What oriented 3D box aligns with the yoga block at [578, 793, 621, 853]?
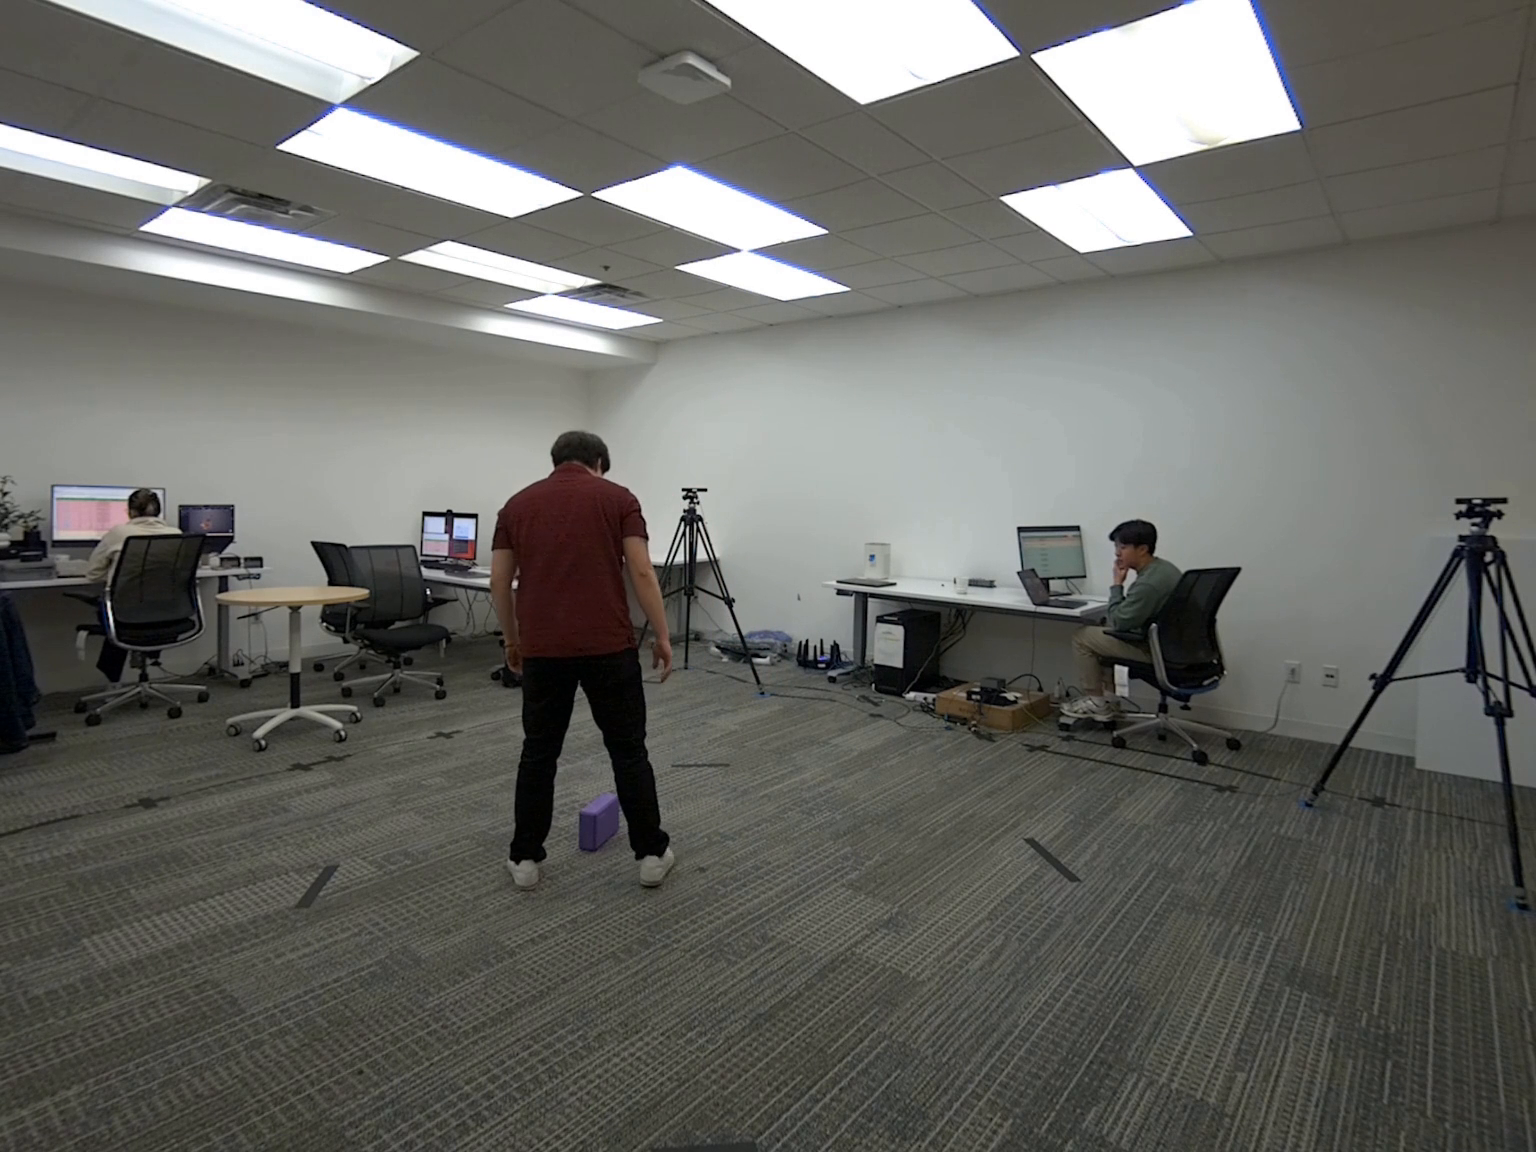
[{"bbox_3d":[-0.676,0.961,3.353,0.078,0.149,0.226,1,4,15],"label":"yoga block"}]
